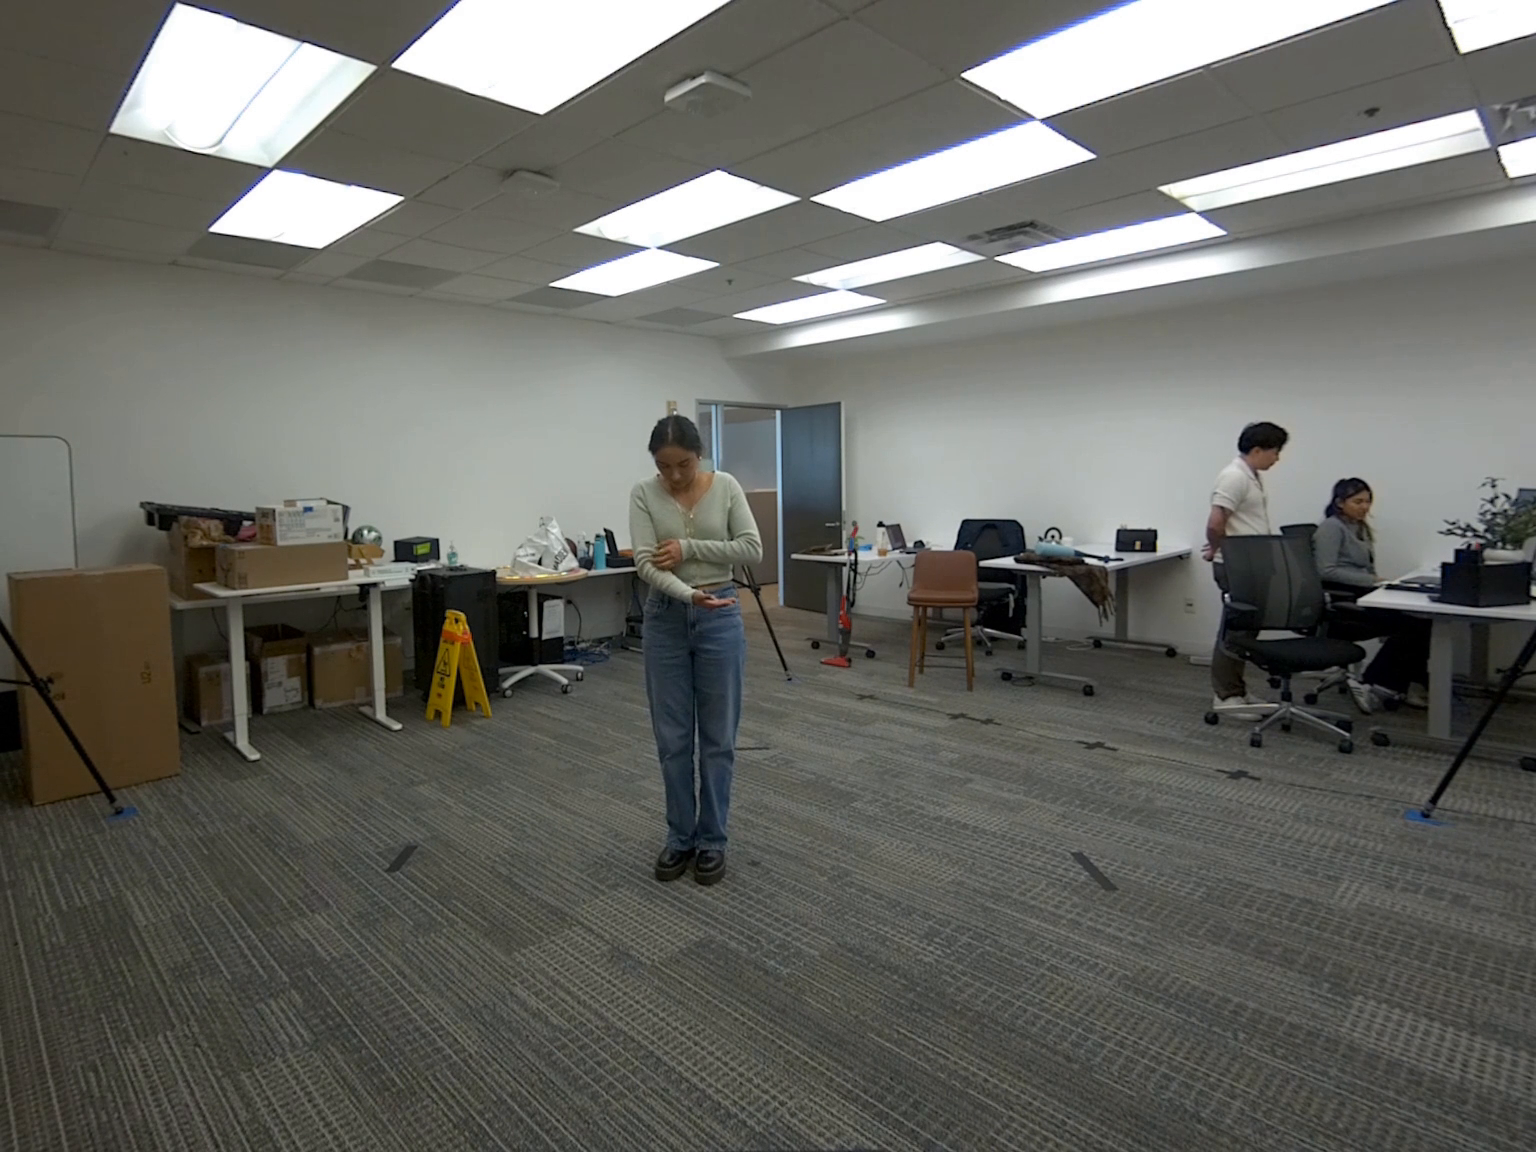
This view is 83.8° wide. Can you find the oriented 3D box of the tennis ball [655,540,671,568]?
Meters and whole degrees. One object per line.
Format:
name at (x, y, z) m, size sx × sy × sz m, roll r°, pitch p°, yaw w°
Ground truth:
tennis ball at (-0.318, -0.093, 2.893) m, size 0.066 × 0.066 × 0.067 m, roll -1°, pitch 5°, yaw -2°
